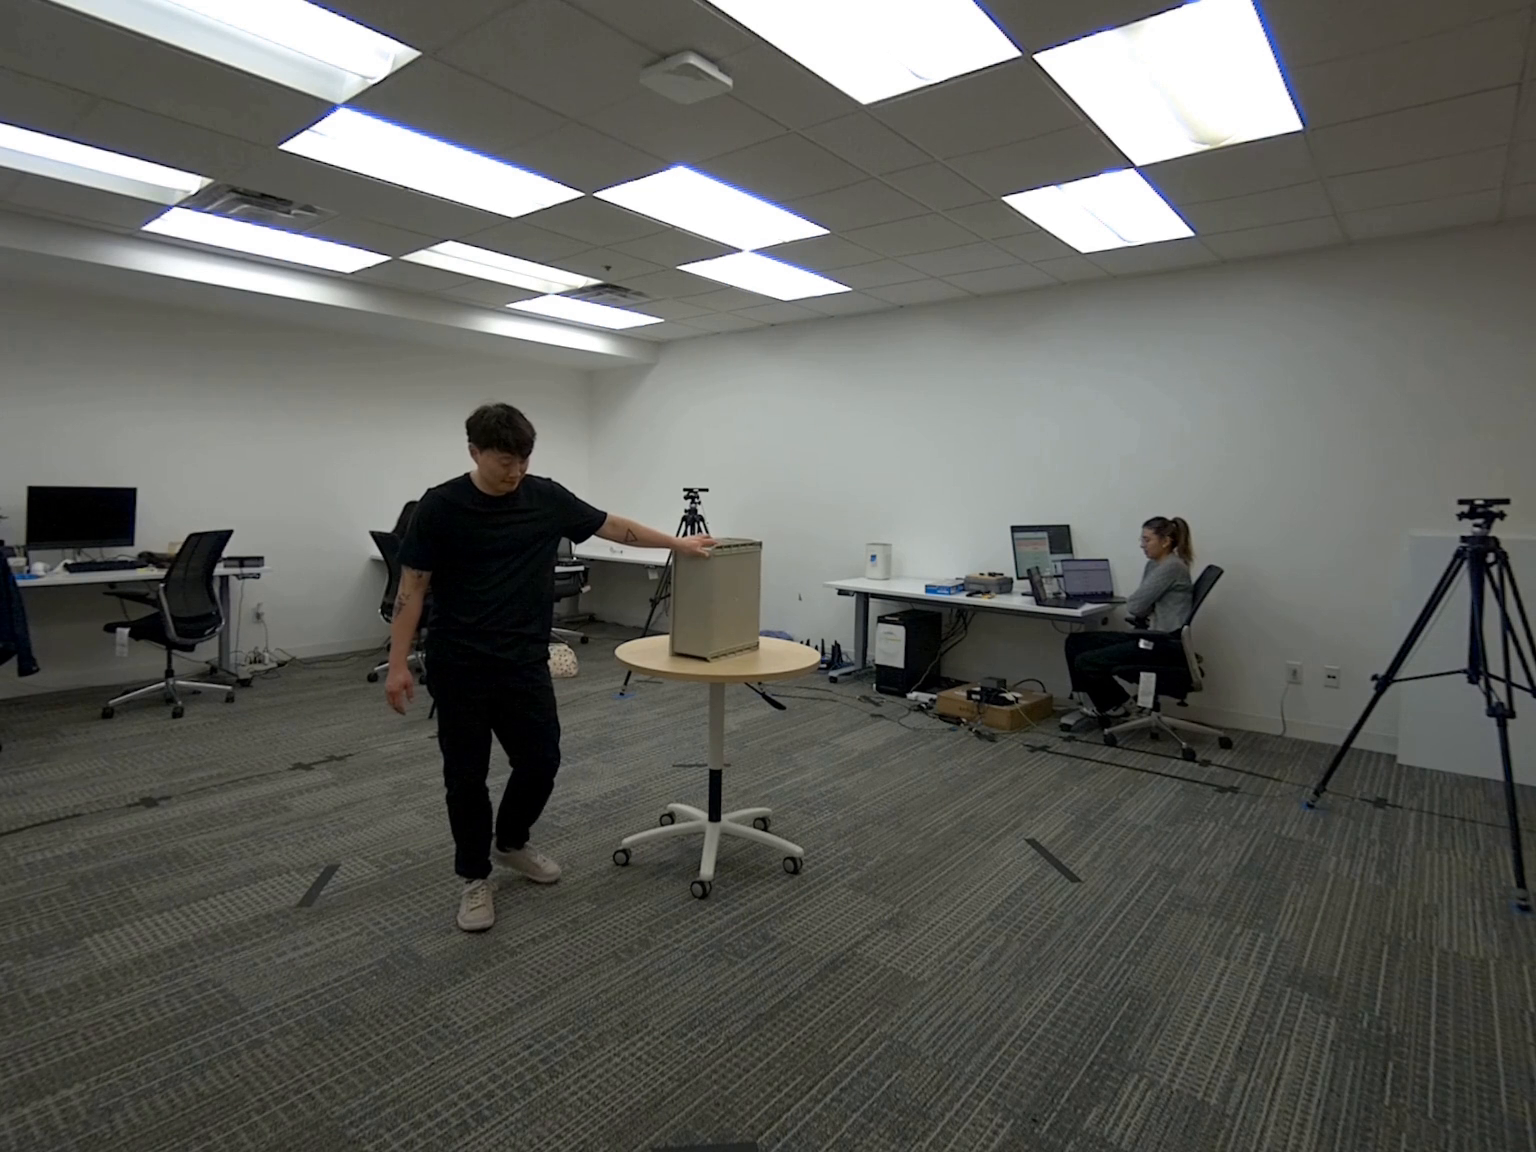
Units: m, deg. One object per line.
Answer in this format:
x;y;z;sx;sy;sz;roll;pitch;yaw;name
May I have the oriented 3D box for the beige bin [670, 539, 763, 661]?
-0.185;0.076;3.163;0.195;0.420;0.367;5;6;32;beige bin
